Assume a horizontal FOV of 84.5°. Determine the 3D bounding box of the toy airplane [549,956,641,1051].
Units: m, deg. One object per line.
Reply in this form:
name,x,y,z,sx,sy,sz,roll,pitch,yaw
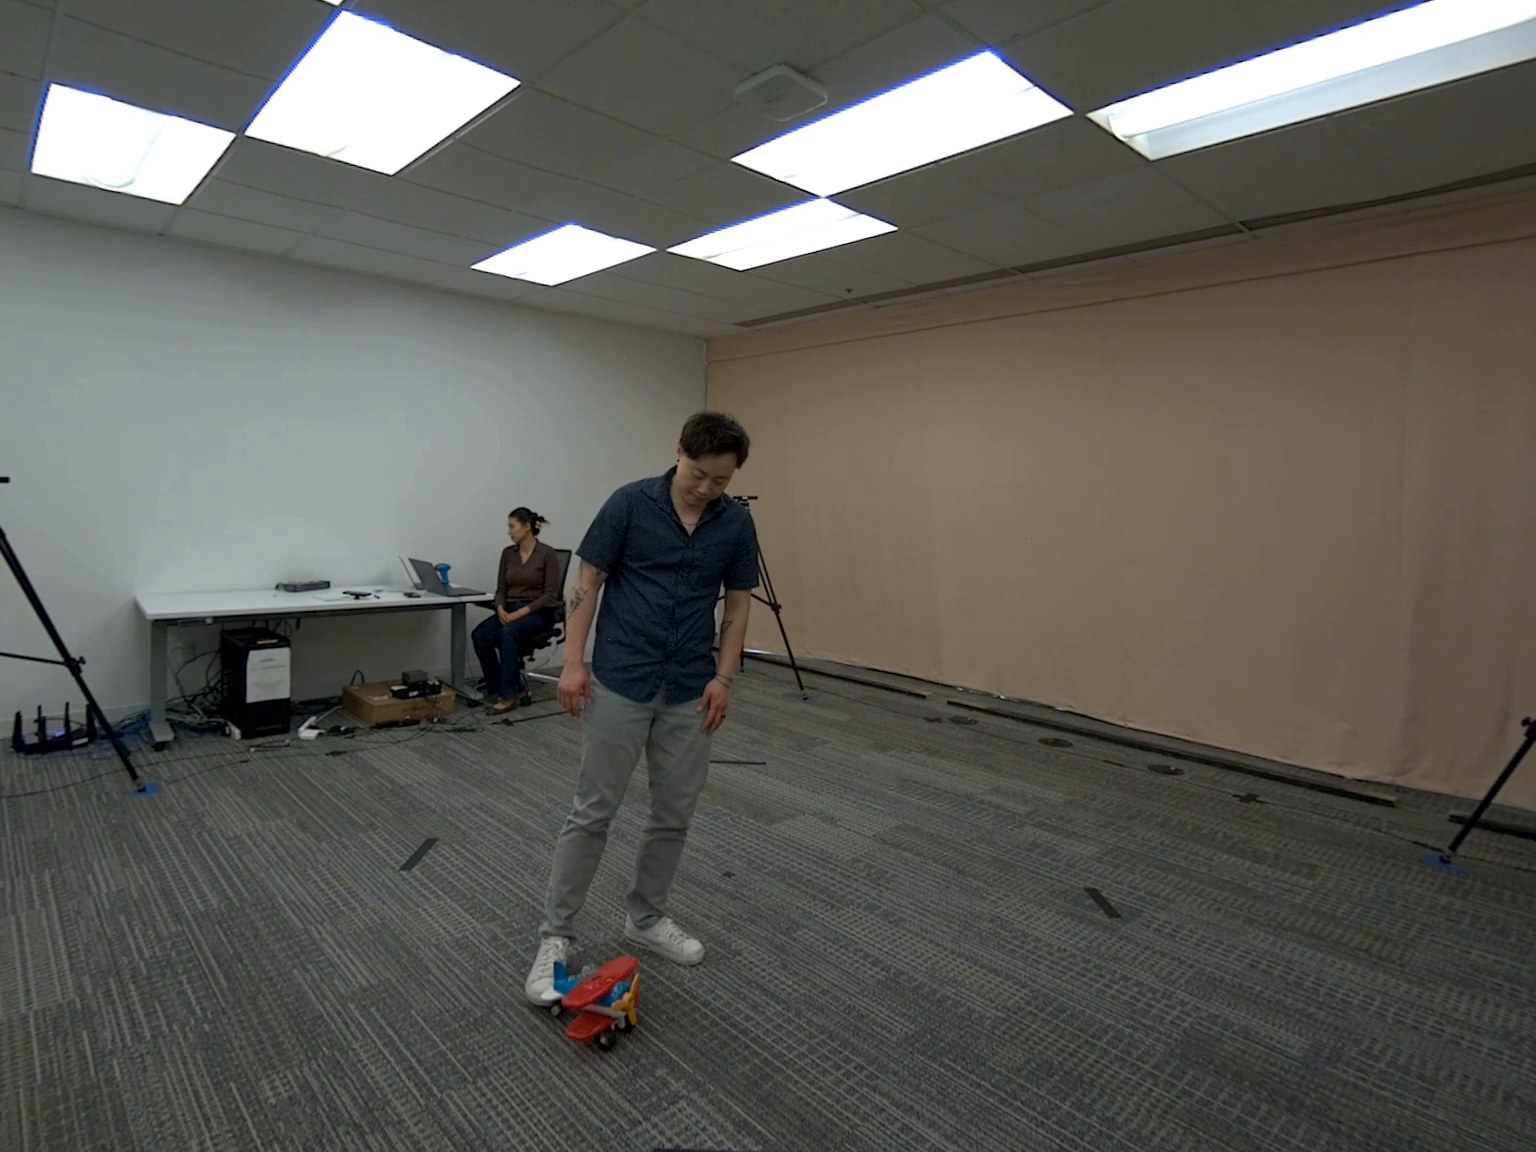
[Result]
toy airplane,-0.468,1.108,2.159,0.259,0.156,0.252,7,7,0
